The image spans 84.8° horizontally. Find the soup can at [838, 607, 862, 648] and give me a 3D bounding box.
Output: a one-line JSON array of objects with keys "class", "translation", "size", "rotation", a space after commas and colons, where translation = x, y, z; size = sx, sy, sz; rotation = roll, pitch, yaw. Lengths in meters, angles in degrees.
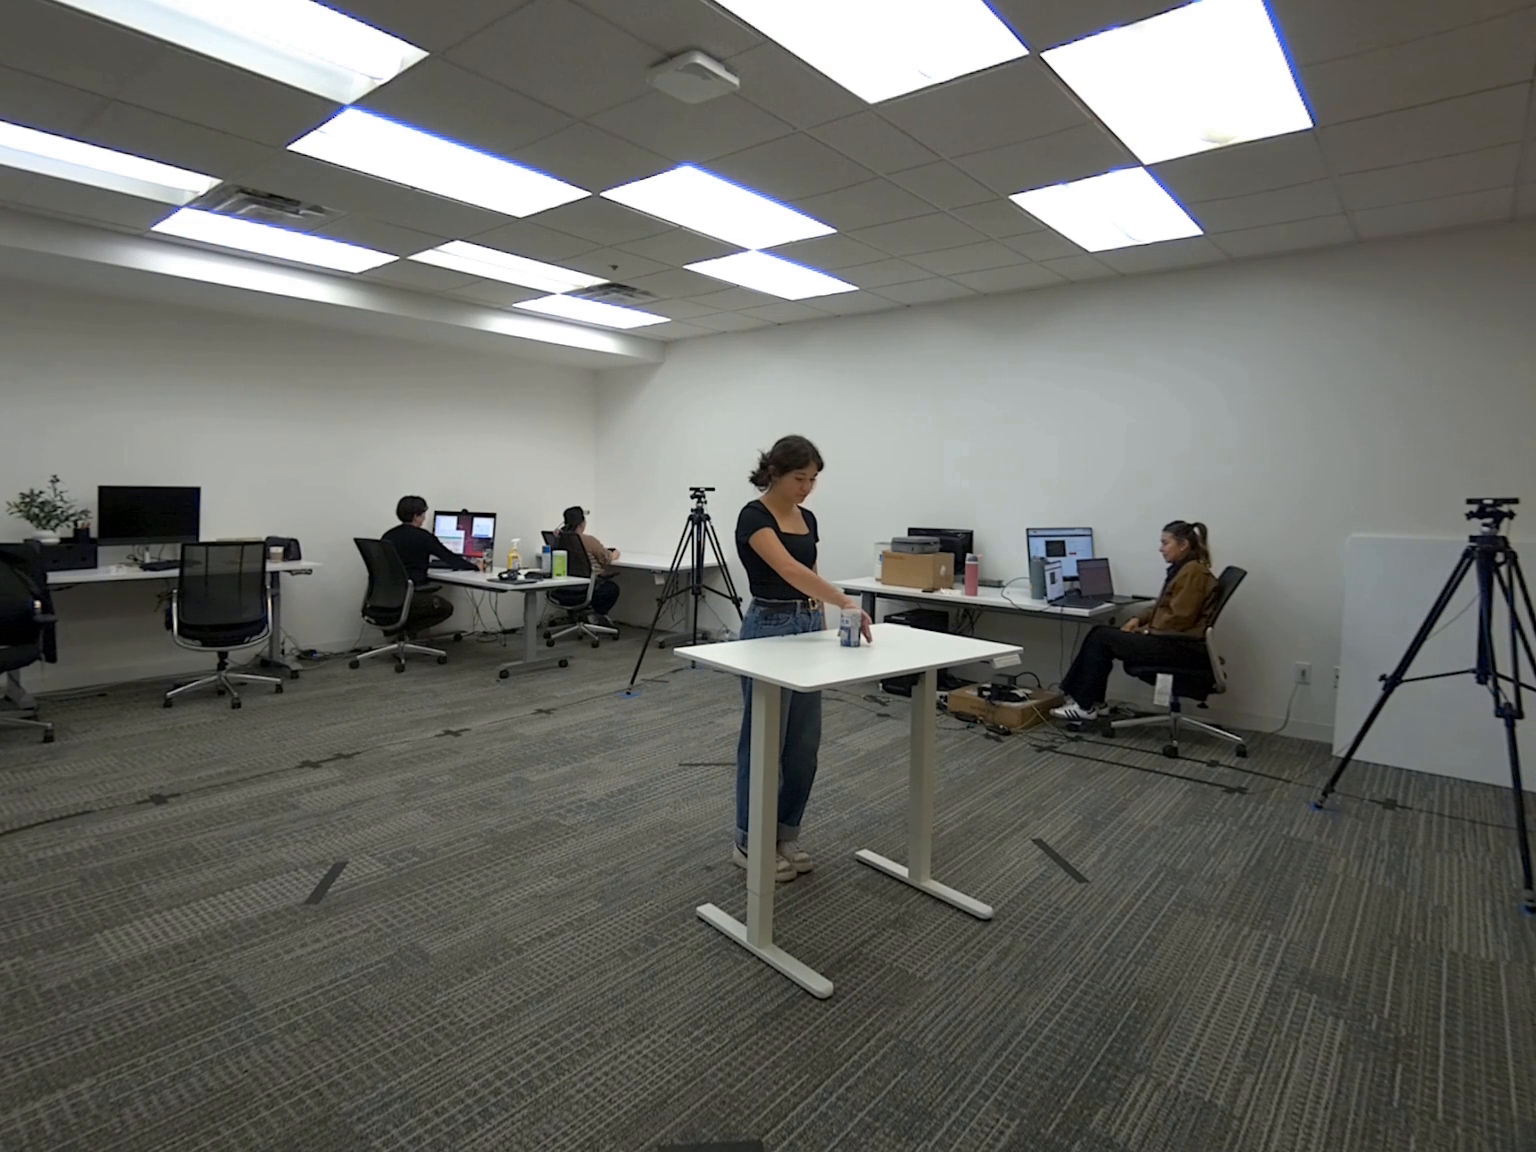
[{"class": "soup can", "translation": [0.263, 0.165, 2.794], "size": [0.067, 0.121, 0.067], "rotation": [-2, 3, -2]}]
